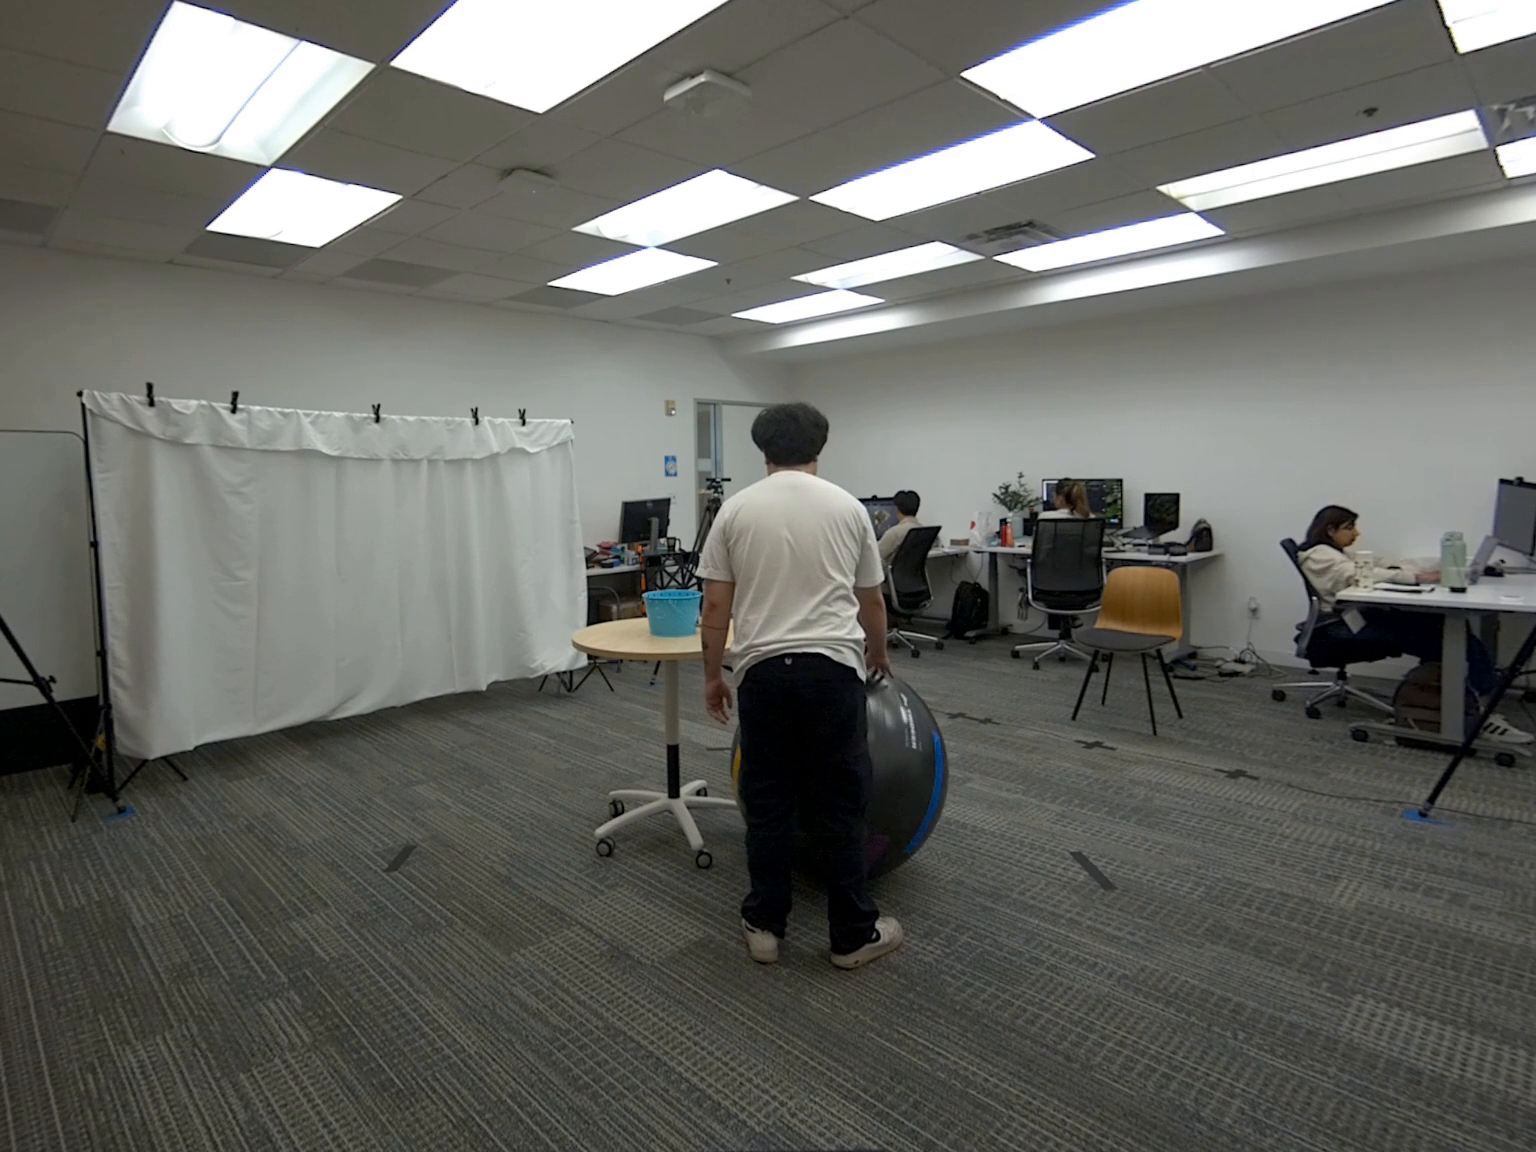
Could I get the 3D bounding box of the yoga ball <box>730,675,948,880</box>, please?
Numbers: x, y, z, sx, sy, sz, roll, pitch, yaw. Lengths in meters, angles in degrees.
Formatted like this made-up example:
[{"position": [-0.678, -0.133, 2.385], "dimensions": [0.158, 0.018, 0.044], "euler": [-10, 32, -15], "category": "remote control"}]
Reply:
[{"position": [0.254, 0.682, 3.016], "dimensions": [0.757, 0.755, 0.762], "euler": [-1, 5, -2], "category": "yoga ball"}]
